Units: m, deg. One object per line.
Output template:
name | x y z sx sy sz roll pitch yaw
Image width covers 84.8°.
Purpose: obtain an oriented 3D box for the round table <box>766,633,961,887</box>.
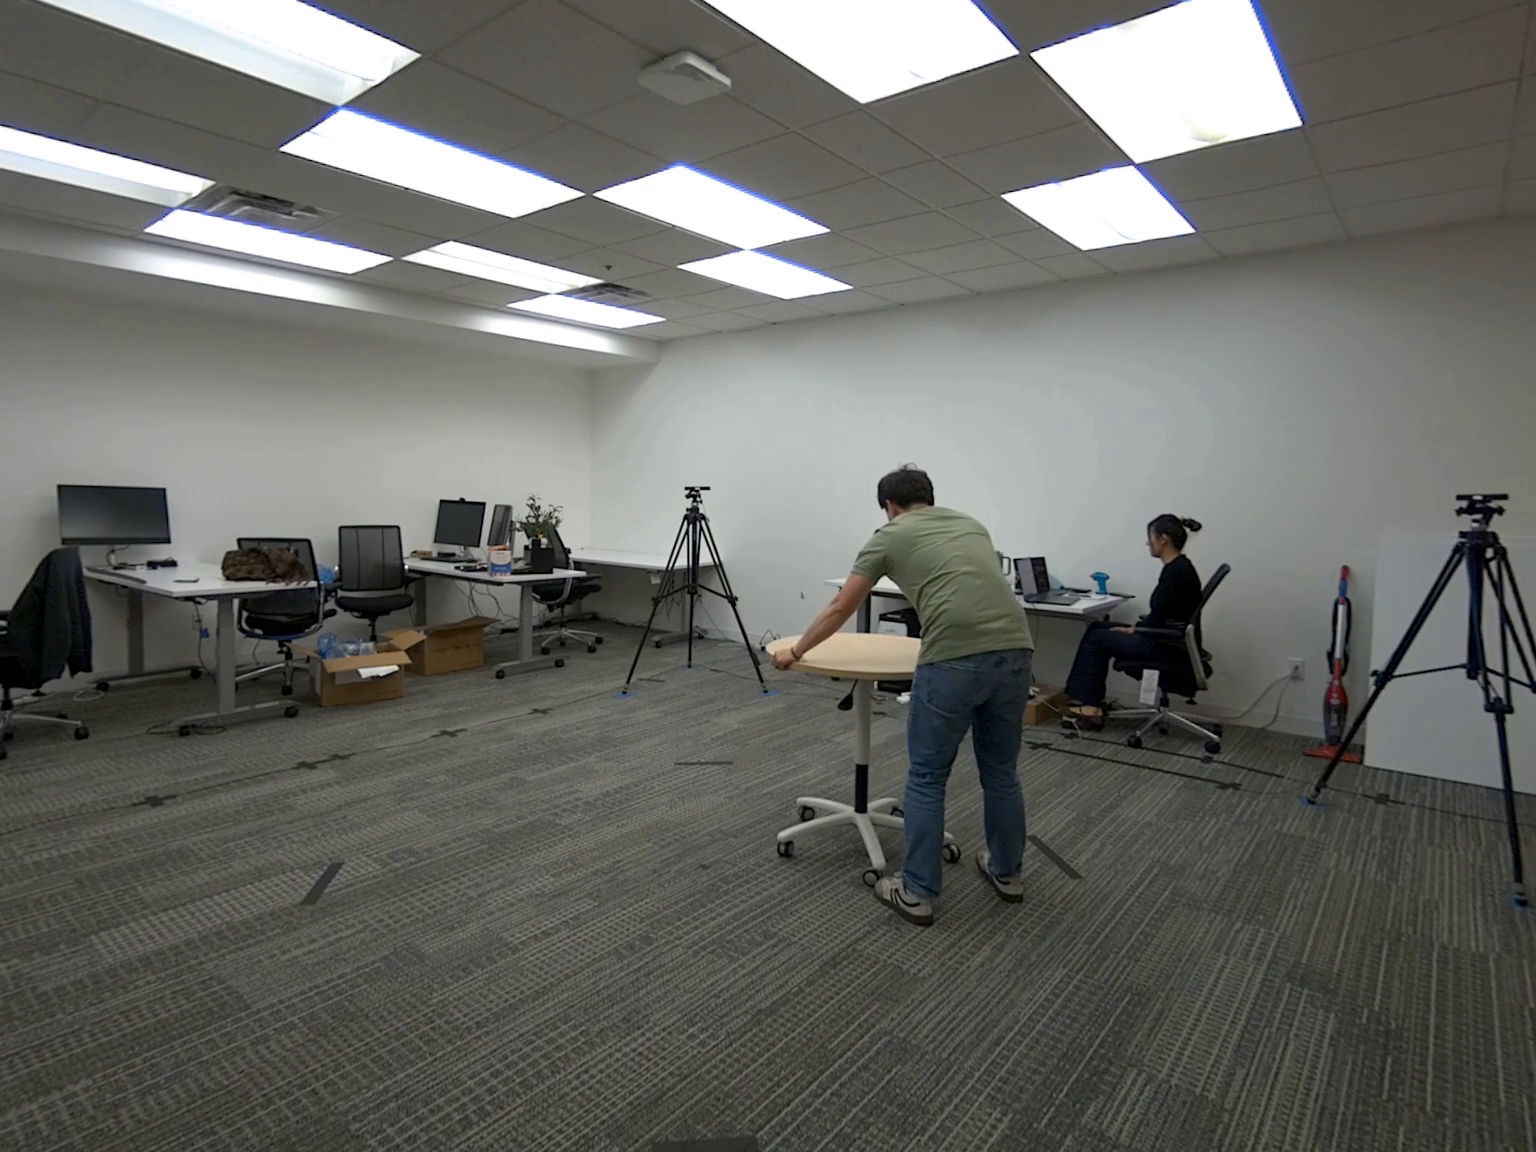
round table | 0.360 0.673 3.307 0.763 0.791 0.768 1 4 -2
